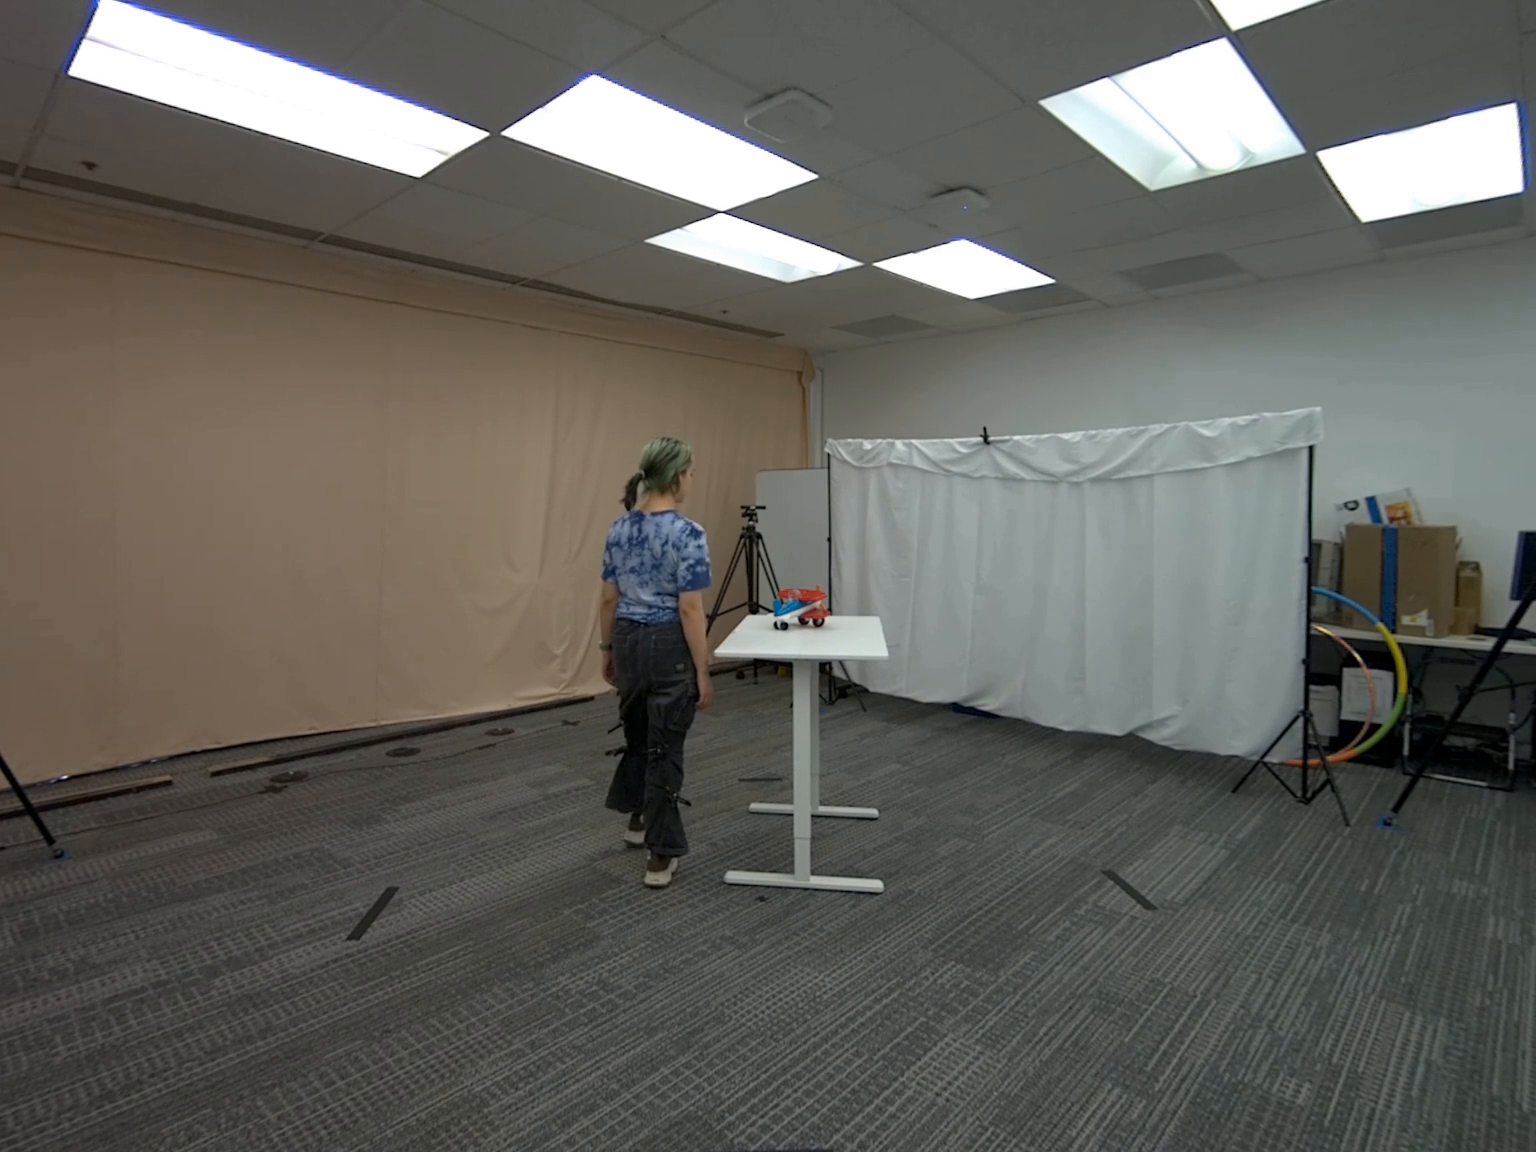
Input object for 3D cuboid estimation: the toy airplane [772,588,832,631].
[{"bbox_3d":[0.148,0.142,3.518,0.257,0.156,0.254,1,4,21],"label":"toy airplane"}]
